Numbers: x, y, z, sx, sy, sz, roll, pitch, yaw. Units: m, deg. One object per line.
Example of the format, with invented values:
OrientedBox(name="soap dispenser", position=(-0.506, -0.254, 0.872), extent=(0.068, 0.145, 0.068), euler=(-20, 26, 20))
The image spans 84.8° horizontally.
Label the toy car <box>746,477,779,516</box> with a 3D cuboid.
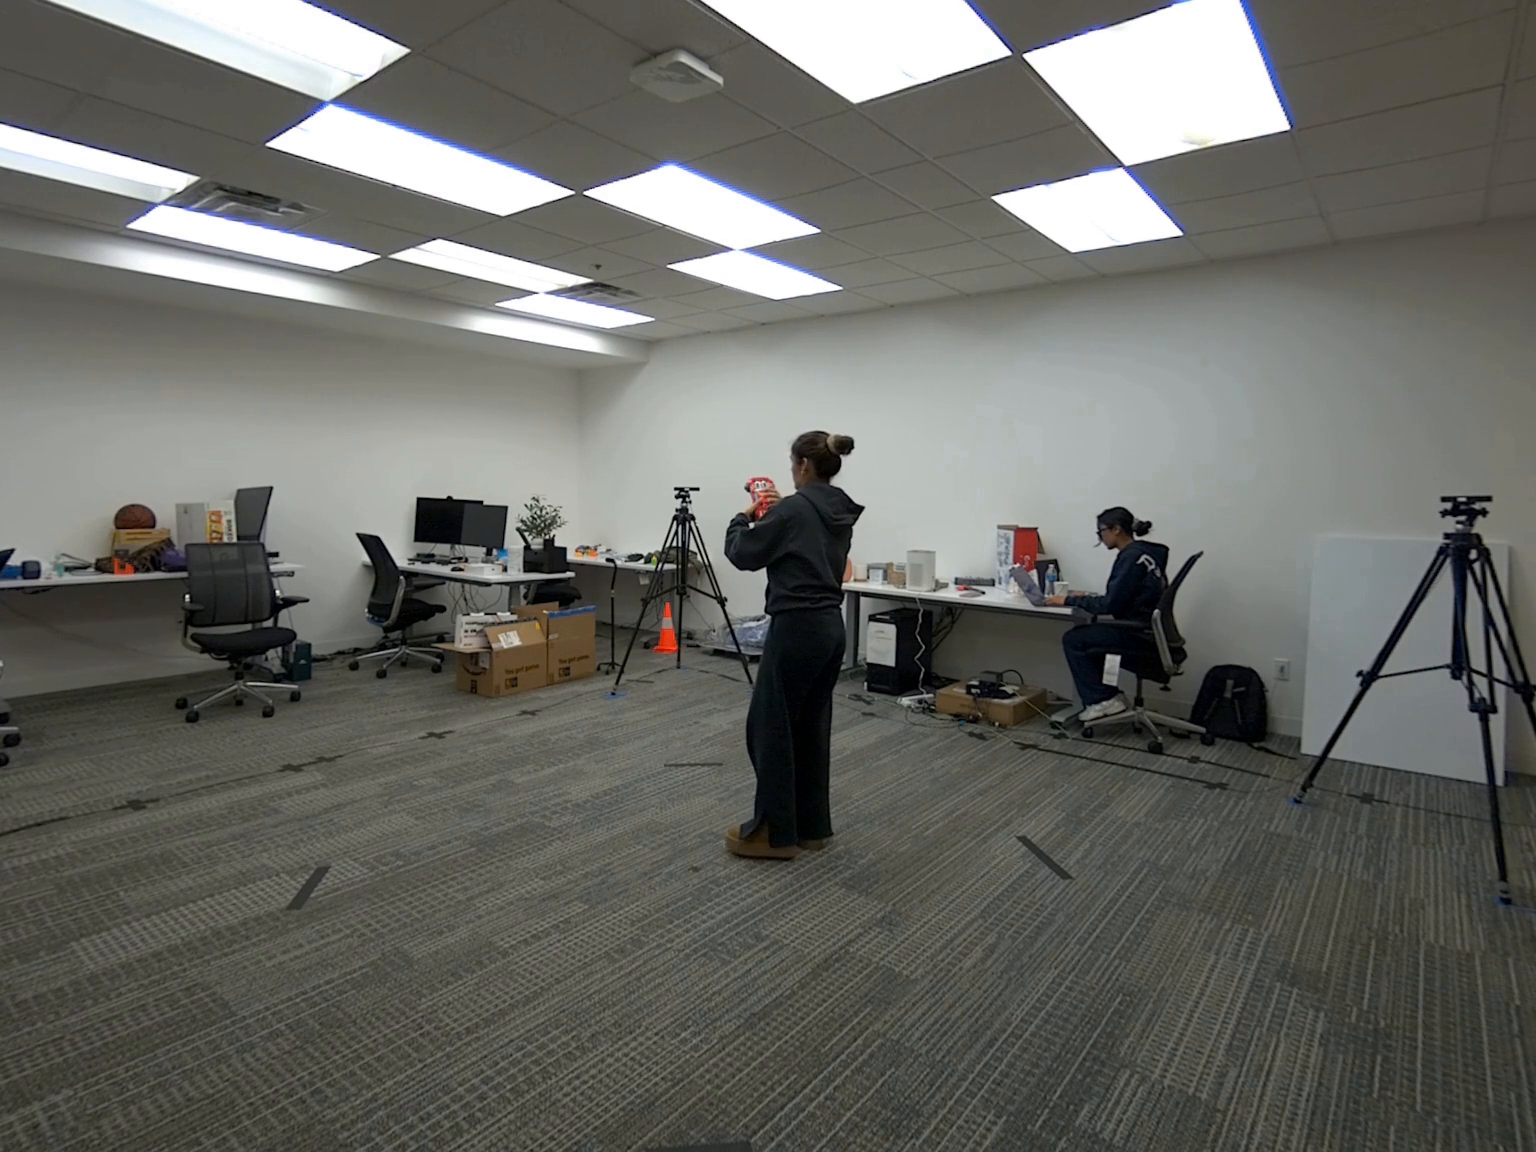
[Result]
OrientedBox(name="toy car", position=(-0.020, -0.311, 3.530), extent=(0.128, 0.081, 0.264), euler=(-4, 45, -14))
